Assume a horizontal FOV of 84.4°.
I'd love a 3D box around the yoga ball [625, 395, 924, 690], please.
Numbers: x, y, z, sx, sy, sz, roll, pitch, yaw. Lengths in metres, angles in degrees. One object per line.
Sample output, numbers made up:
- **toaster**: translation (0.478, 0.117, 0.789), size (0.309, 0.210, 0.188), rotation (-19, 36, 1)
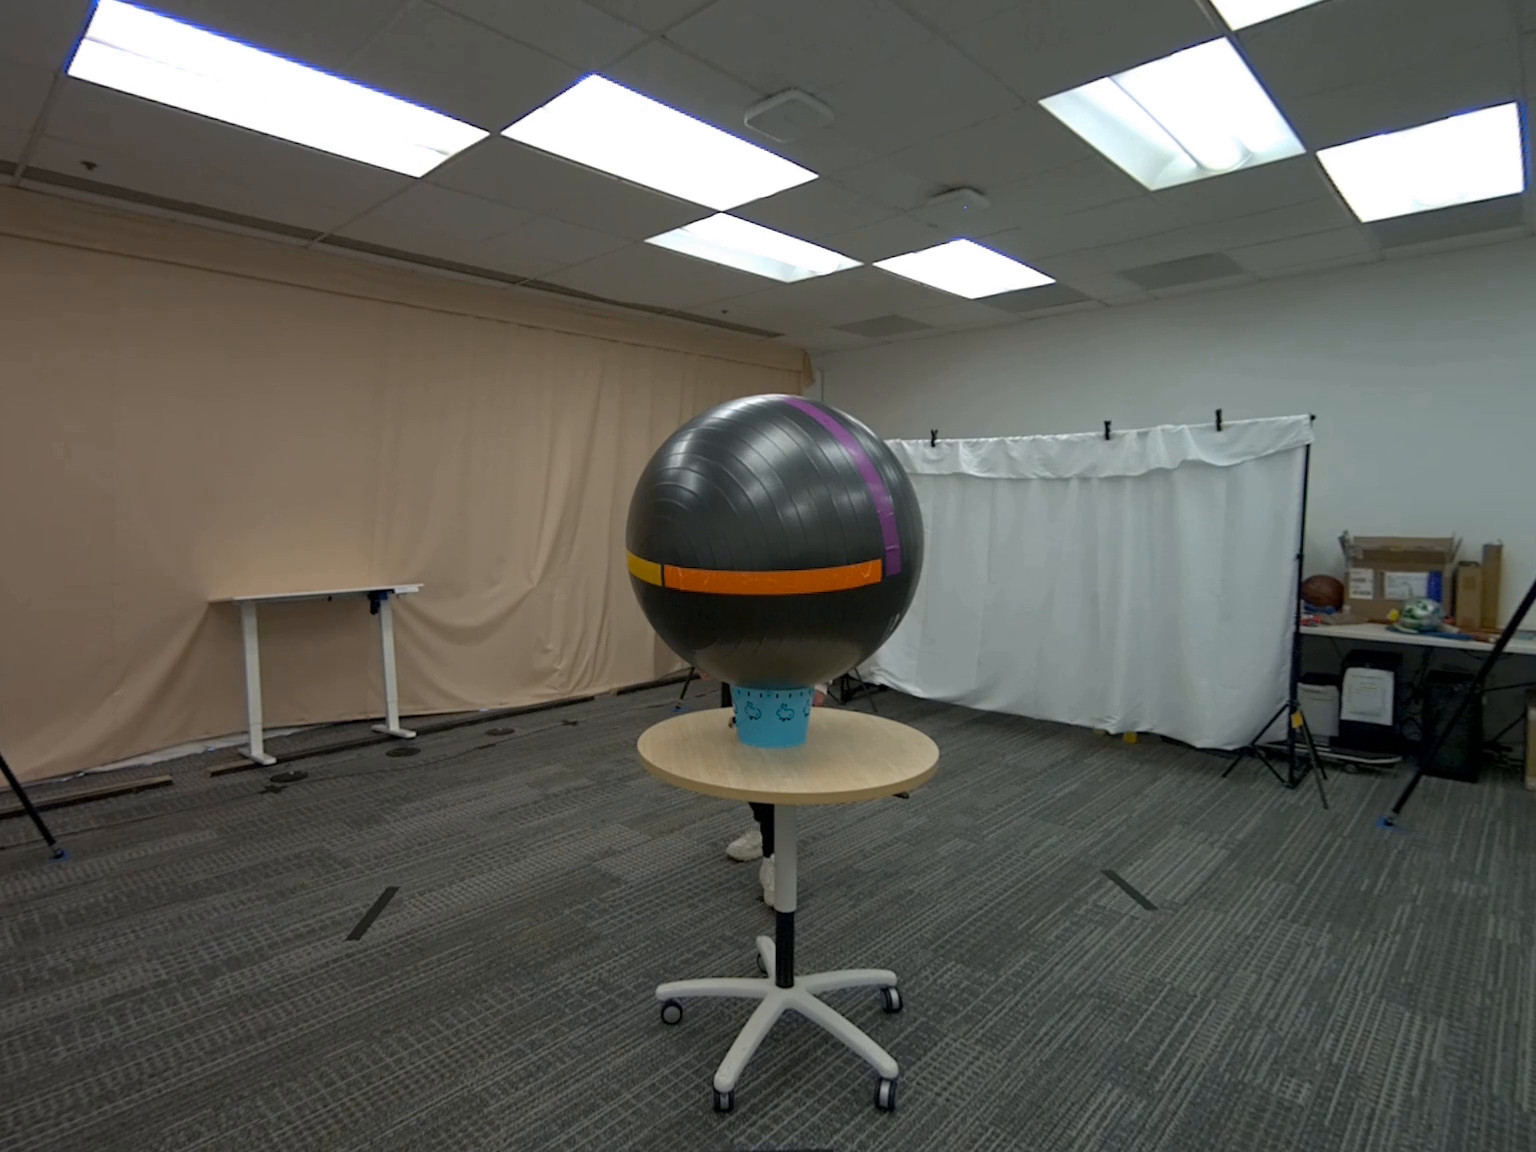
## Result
- **yoga ball**: translation (0.015, -0.080, 2.155), size (0.757, 0.756, 0.761), rotation (0, 4, -2)
